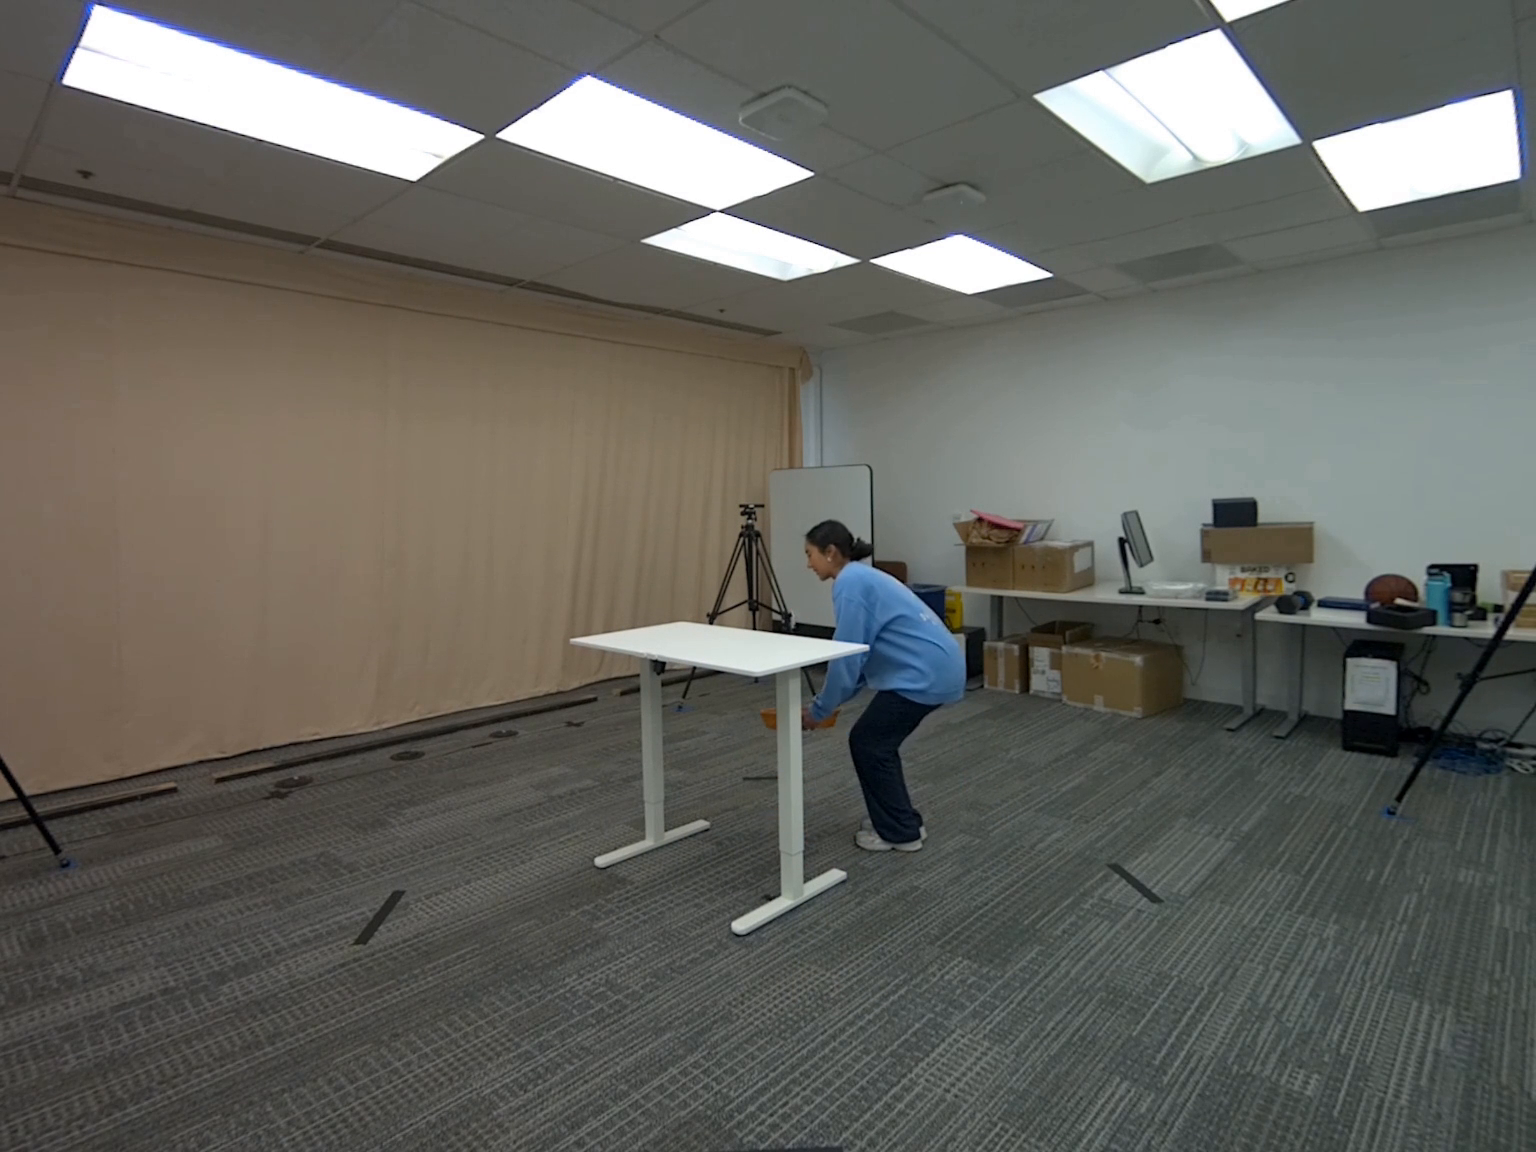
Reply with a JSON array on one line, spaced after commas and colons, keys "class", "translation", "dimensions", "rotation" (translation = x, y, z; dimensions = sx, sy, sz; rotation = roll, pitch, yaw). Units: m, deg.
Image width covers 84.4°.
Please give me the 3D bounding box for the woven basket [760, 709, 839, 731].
[{"class": "woven basket", "translation": [0.143, 0.602, 3.525], "dimensions": [0.345, 0.074, 0.255], "rotation": [0, -6, -16]}]
